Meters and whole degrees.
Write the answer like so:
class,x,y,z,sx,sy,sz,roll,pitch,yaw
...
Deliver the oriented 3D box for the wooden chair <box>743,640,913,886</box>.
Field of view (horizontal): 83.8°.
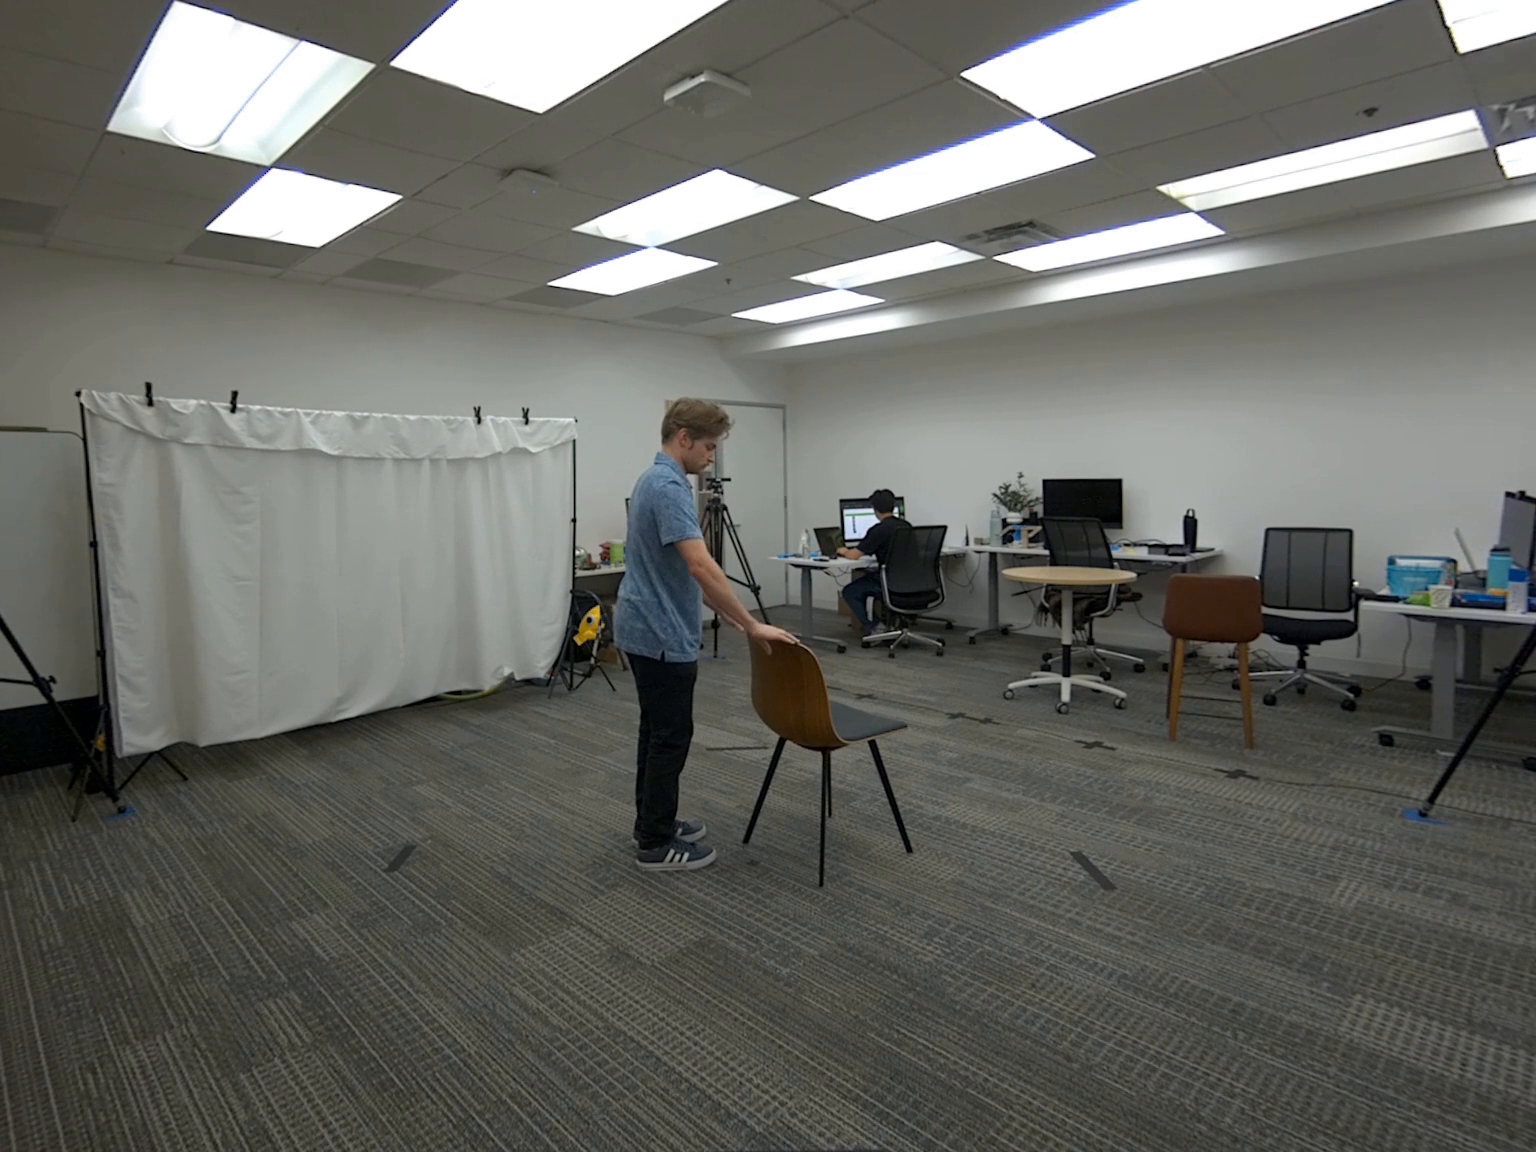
class,x,y,z,sx,sy,sz,roll,pitch,yaw
wooden chair,0.217,0.598,3.187,0.511,0.872,0.492,-9,8,-36
